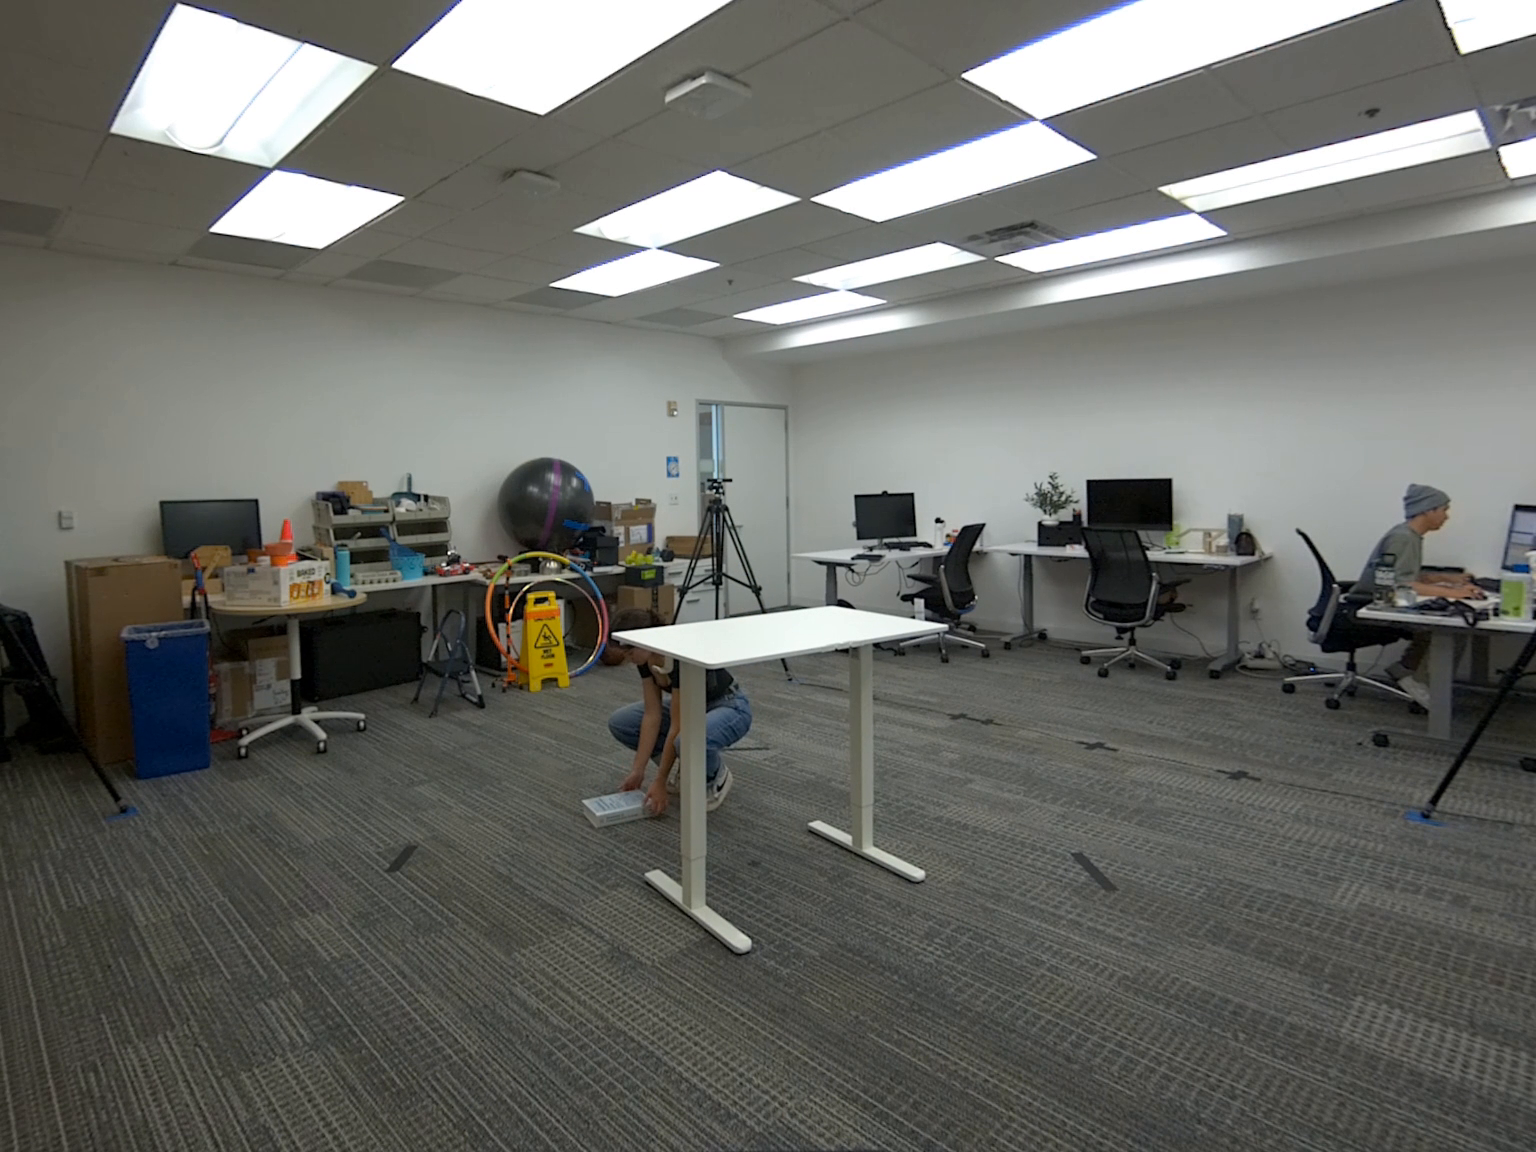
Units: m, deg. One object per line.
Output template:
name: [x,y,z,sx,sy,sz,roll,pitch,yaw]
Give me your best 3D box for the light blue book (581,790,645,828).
light blue book: [-0.632,0.978,3.583,0.255,0.059,0.196,-4,6,-28]
